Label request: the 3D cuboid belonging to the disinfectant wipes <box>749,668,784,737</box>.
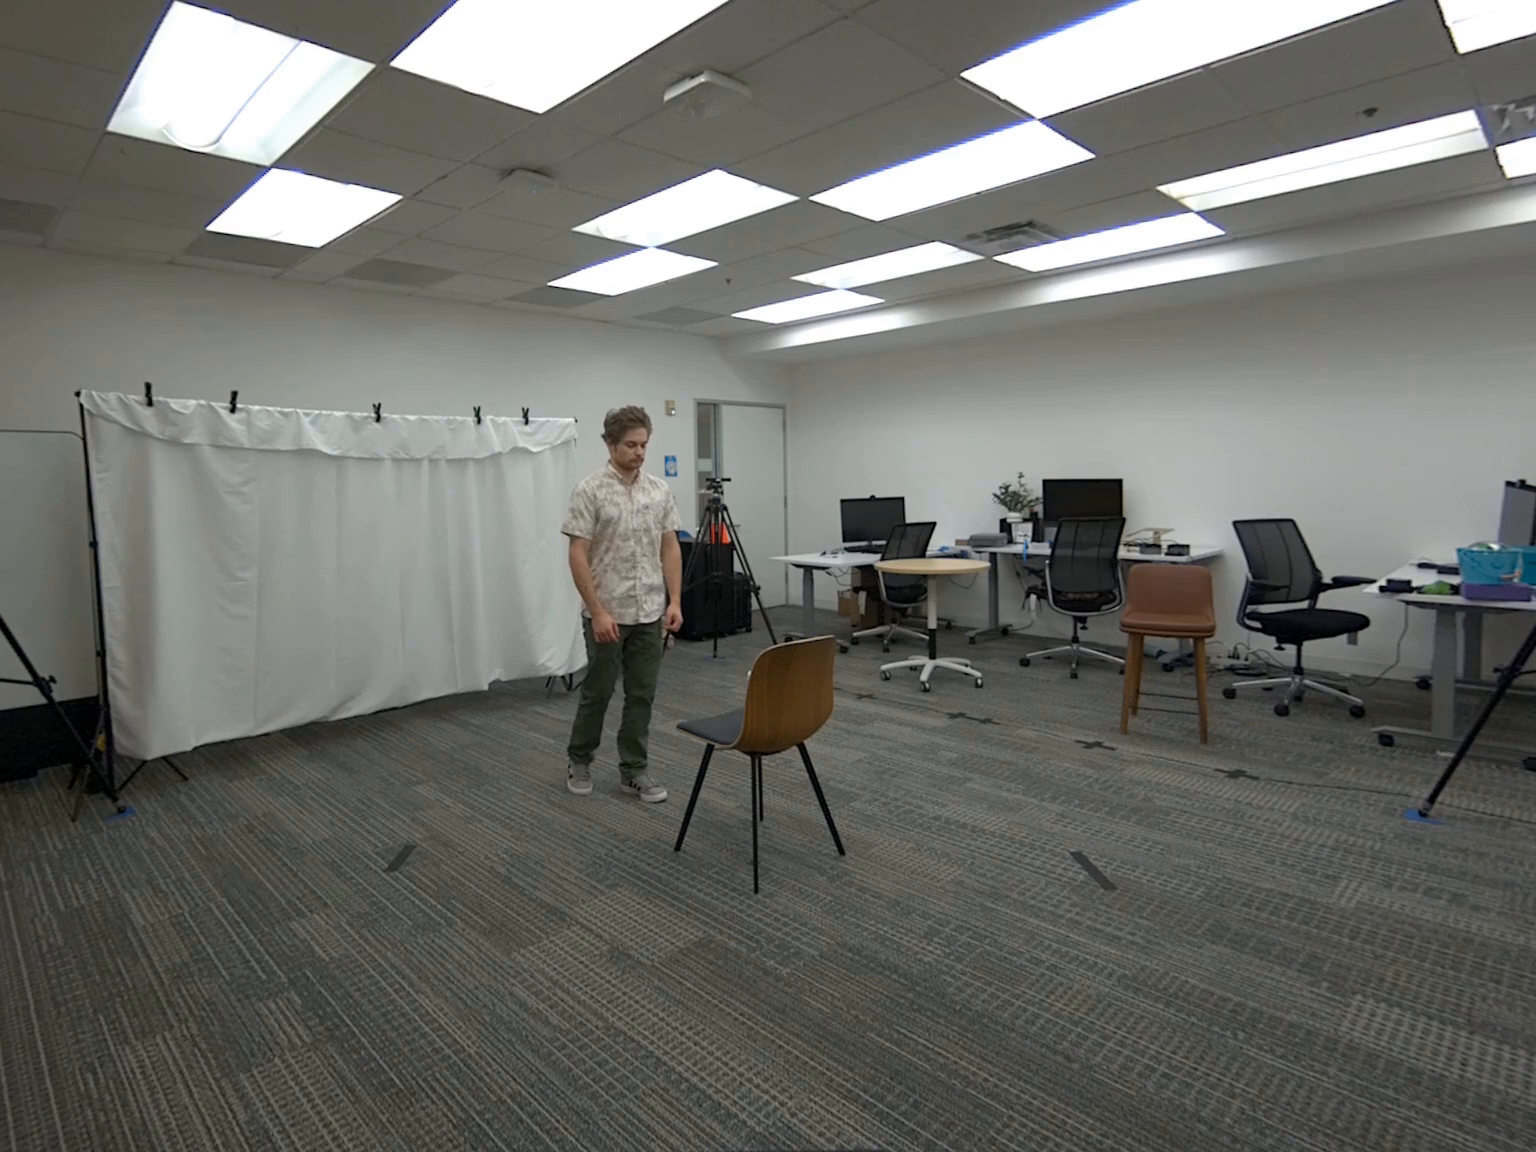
[{"bbox_3d":[-0.008,0.460,3.137,0.118,0.216,0.119,-1,8,-2],"label":"disinfectant wipes"}]
